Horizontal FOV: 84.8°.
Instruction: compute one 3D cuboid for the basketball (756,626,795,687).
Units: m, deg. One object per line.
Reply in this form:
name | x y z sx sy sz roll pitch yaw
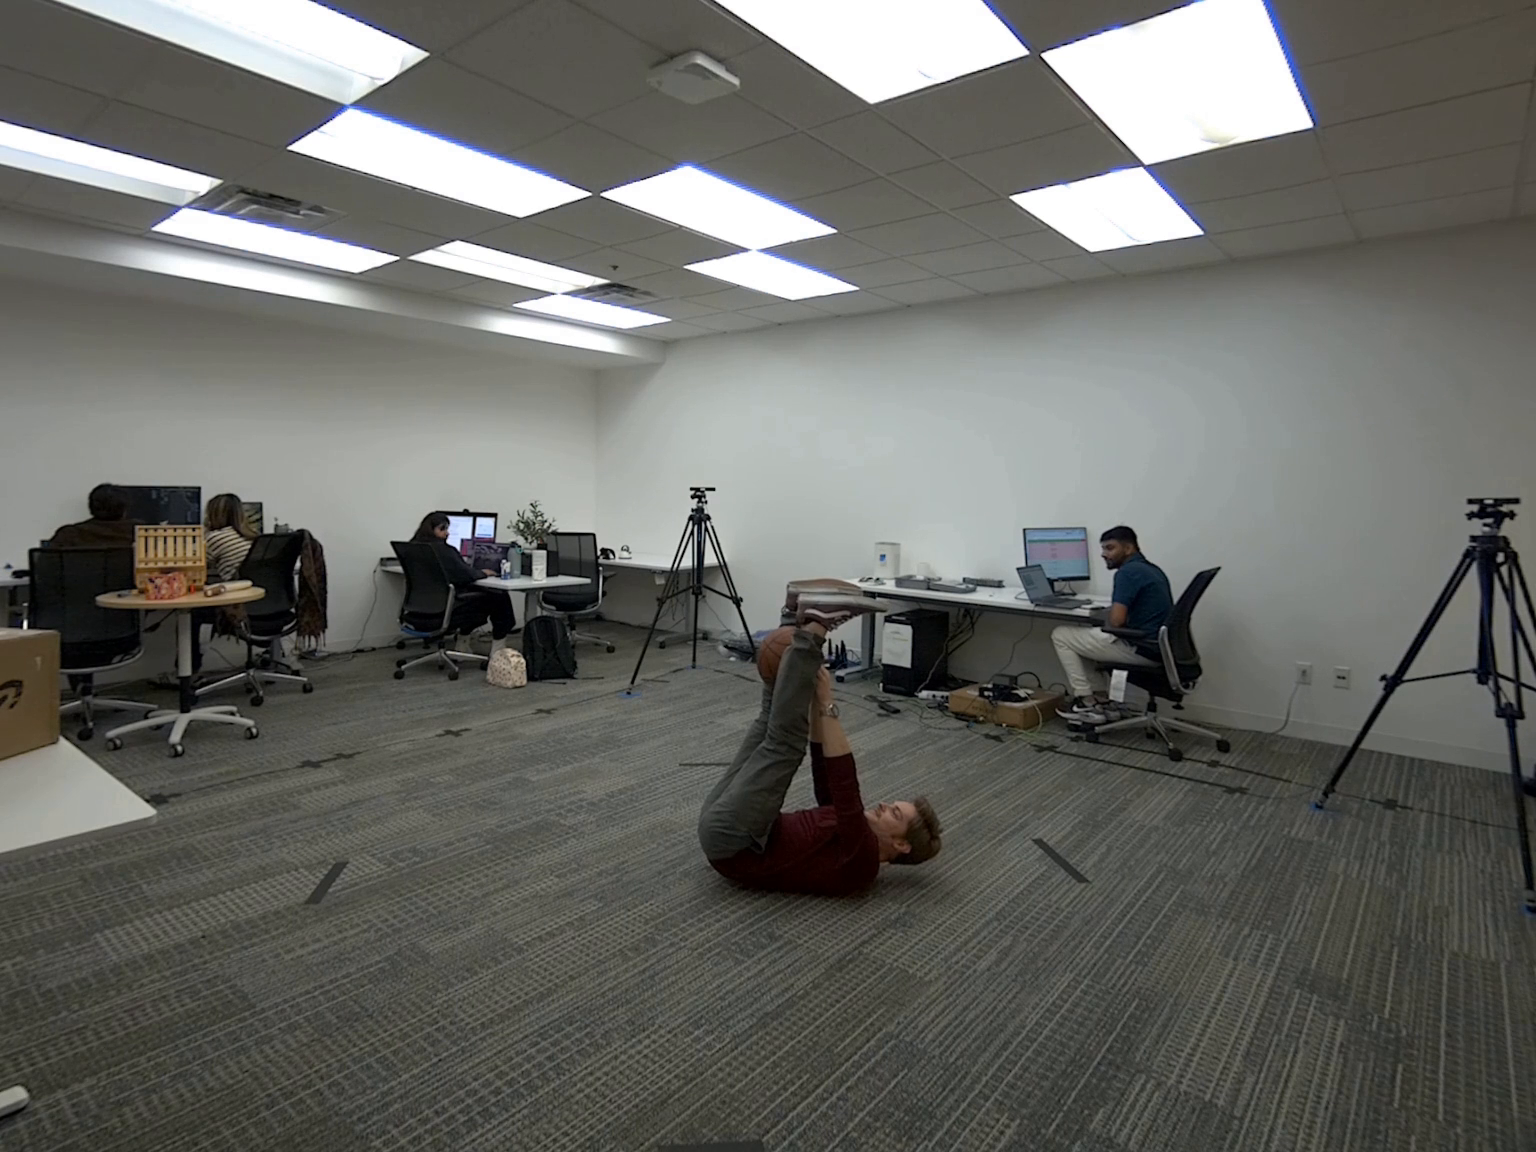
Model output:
basketball | 0.069 0.291 3.000 0.235 0.235 0.237 1 4 -2
